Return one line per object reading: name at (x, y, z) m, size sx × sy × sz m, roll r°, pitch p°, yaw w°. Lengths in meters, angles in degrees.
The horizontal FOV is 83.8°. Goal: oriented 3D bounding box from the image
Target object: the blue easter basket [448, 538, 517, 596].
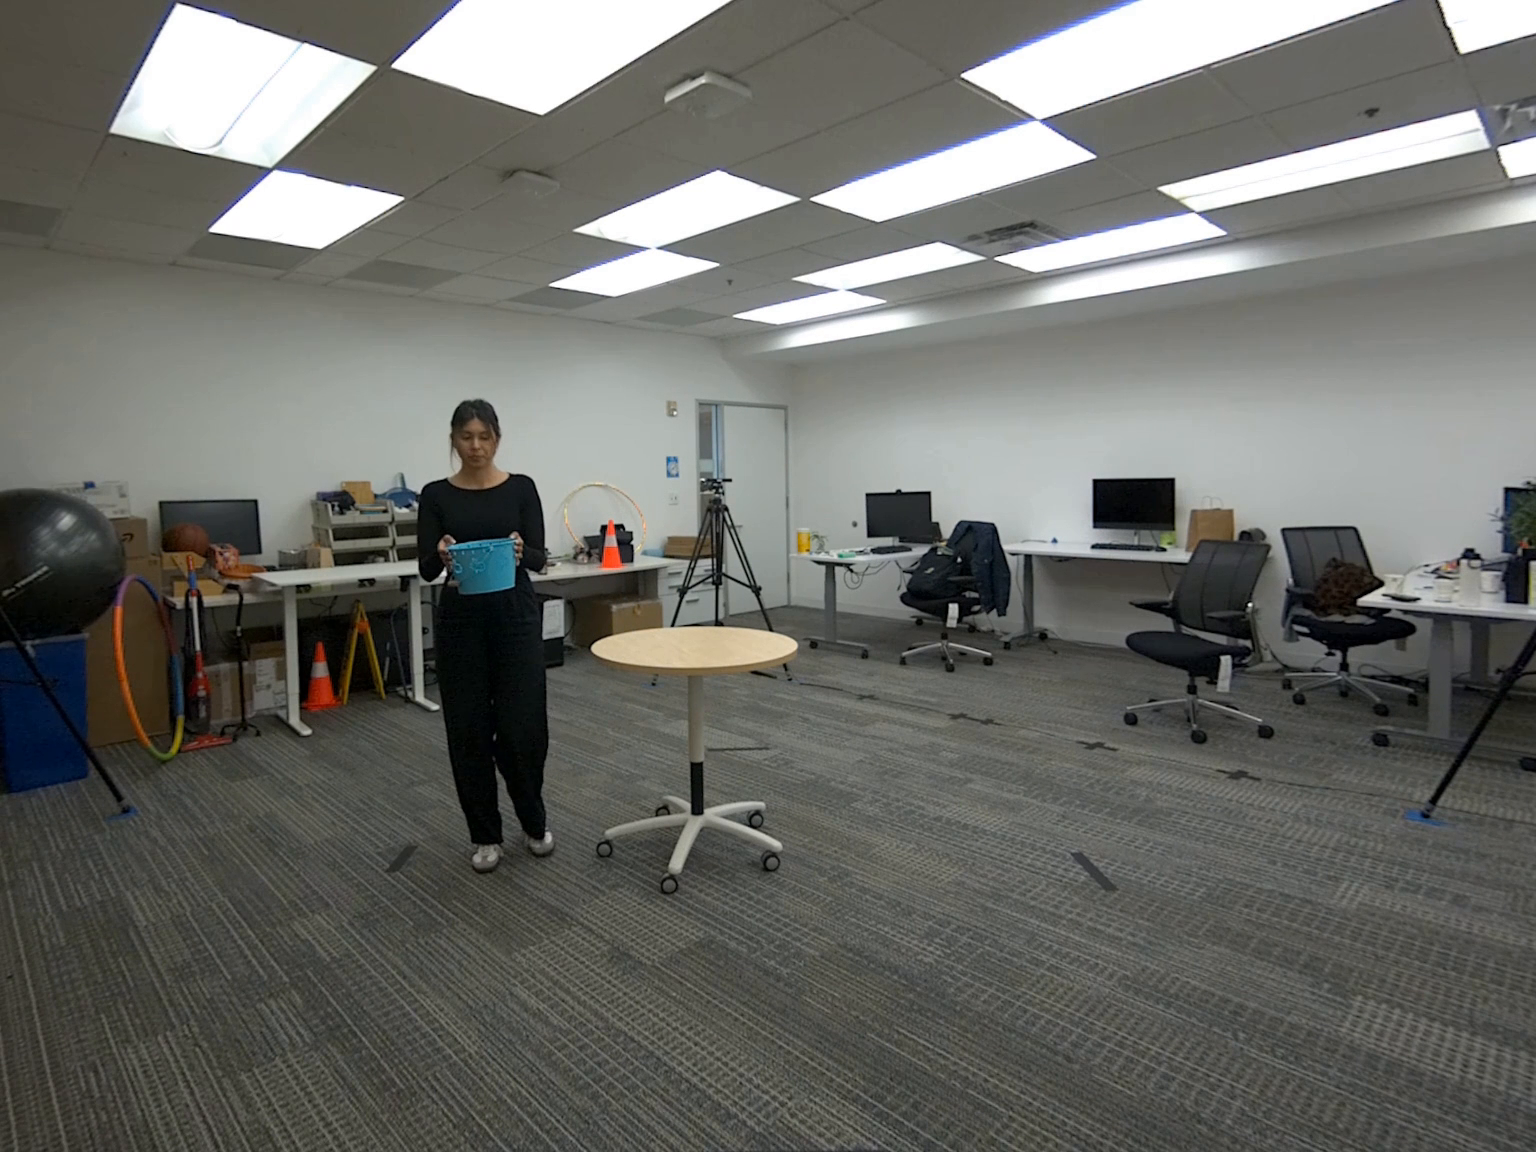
blue easter basket at (-0.958, -0.029, 2.822) m, size 0.243 × 0.155 × 0.245 m, roll -6°, pitch 7°, yaw -1°
